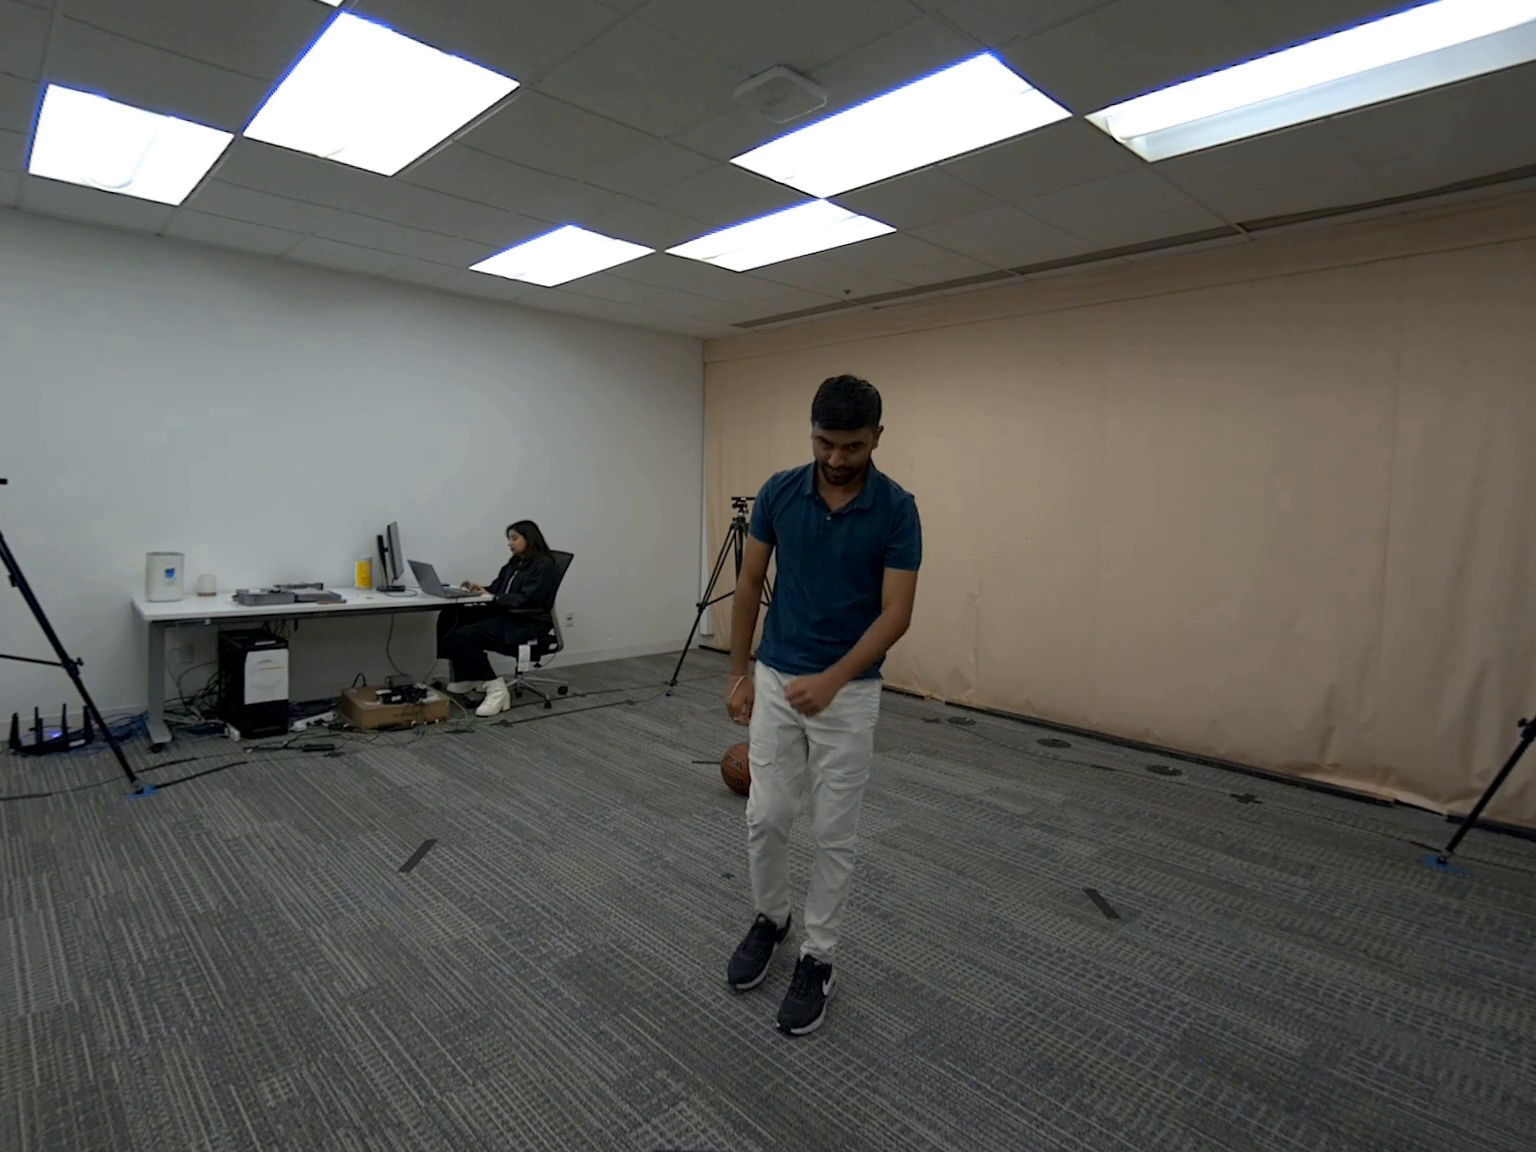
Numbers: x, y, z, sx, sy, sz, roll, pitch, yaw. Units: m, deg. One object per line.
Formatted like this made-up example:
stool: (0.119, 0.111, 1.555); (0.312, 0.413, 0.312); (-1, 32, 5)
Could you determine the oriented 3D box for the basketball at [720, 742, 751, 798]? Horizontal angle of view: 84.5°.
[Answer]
basketball: (-0.119, 0.909, 3.999); (0.236, 0.235, 0.237); (1, 4, -1)
